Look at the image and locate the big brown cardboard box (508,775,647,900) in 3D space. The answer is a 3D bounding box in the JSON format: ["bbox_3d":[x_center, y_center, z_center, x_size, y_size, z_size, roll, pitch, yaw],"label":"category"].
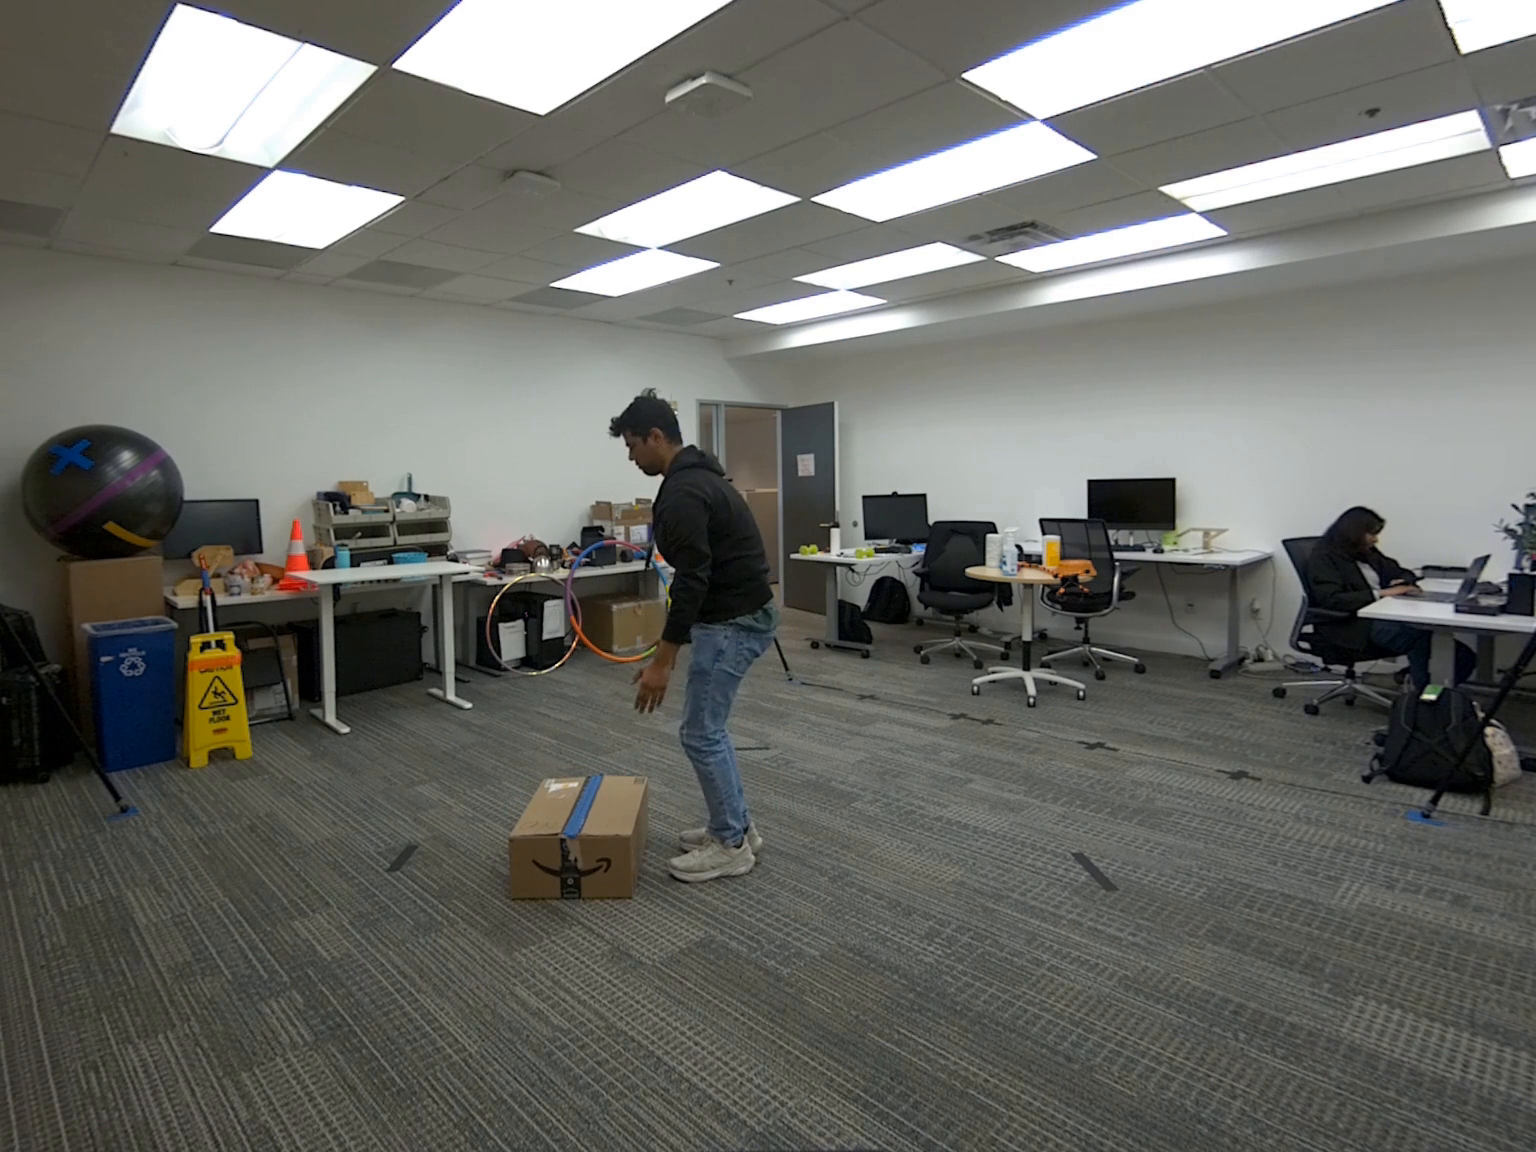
[{"bbox_3d":[-0.676,0.944,3.143,0.417,0.232,0.592,-2,7,-1],"label":"big brown cardboard box"}]
